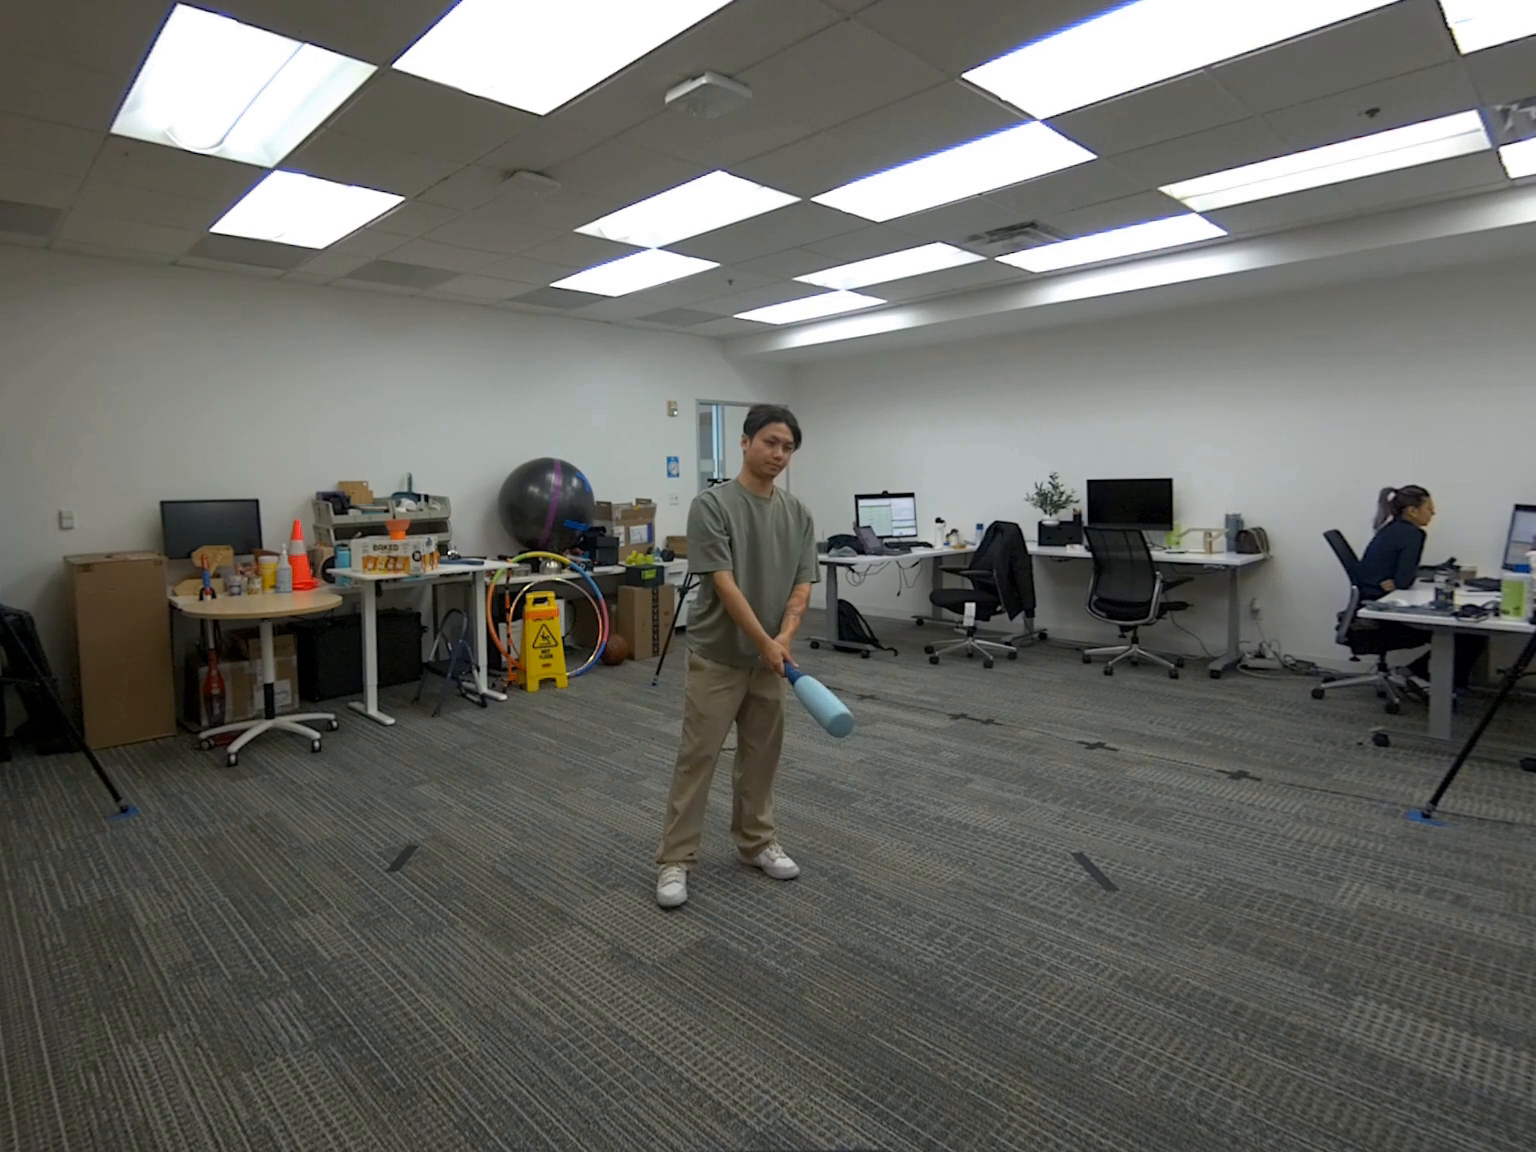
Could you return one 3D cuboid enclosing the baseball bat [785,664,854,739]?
[{"bbox_3d":[0.101,0.323,2.597,0.088,0.088,0.559,-3,19,-18],"label":"baseball bat"}]
